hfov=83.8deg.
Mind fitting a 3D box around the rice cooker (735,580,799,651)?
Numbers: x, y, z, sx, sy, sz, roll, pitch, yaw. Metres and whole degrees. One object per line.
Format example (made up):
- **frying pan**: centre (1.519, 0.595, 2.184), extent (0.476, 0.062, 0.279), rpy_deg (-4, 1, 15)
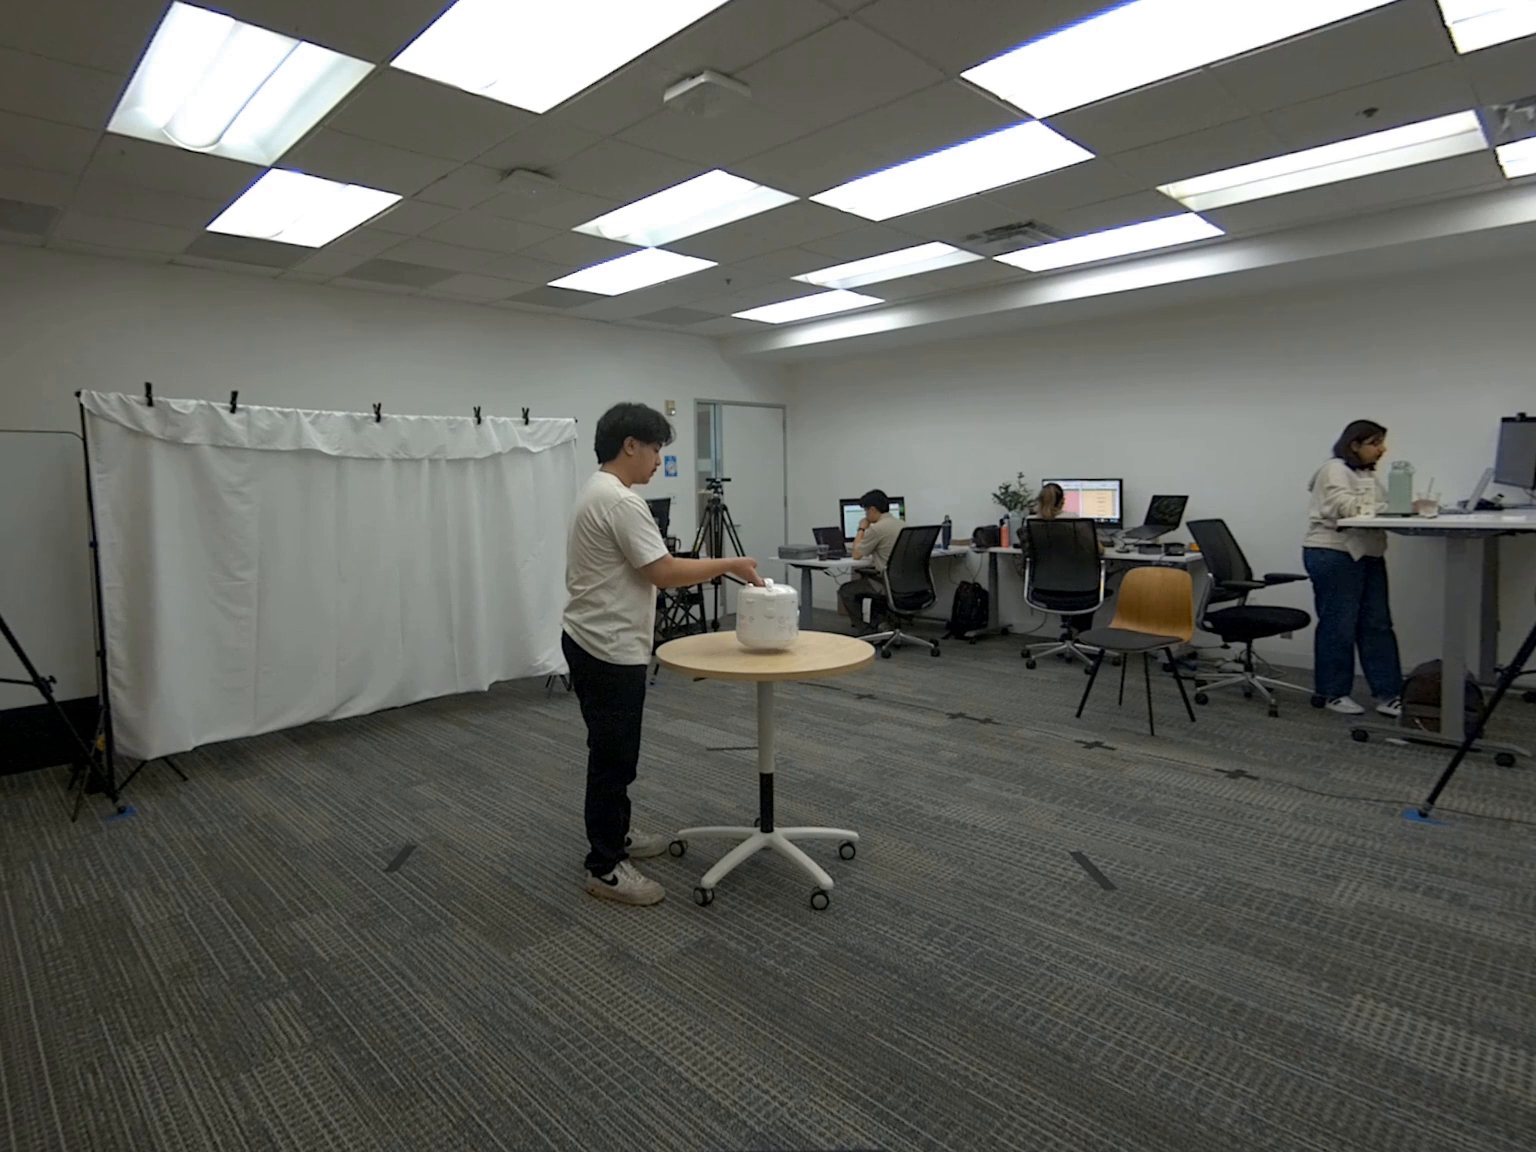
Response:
- **rice cooker**: centre (-0.001, 0.120, 2.965), extent (0.217, 0.232, 0.222), rpy_deg (1, 3, -3)
